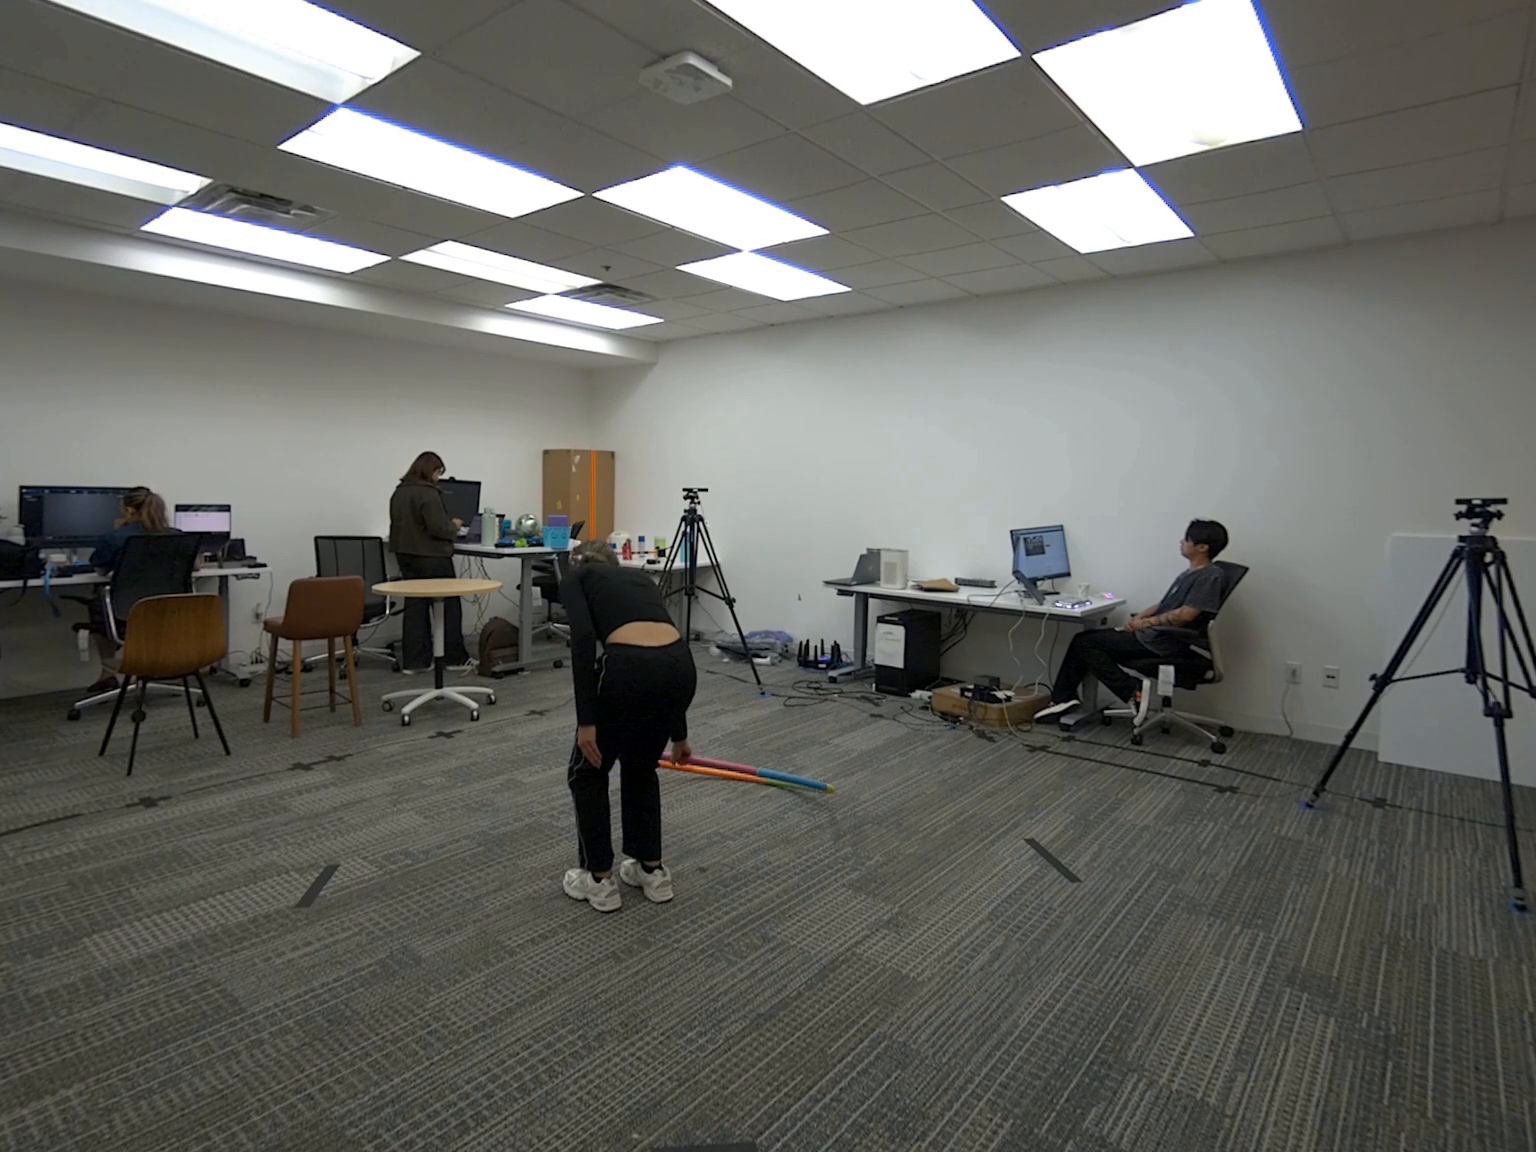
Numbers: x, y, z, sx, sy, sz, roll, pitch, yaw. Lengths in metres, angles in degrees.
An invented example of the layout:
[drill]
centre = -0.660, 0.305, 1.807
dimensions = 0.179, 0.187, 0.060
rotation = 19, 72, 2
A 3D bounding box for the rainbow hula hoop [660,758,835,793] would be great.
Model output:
[rainbow hula hoop]
centre = -0.214, 0.827, 3.640
dimensions = 0.981, 0.036, 0.965
rotation = 9, -15, 1
